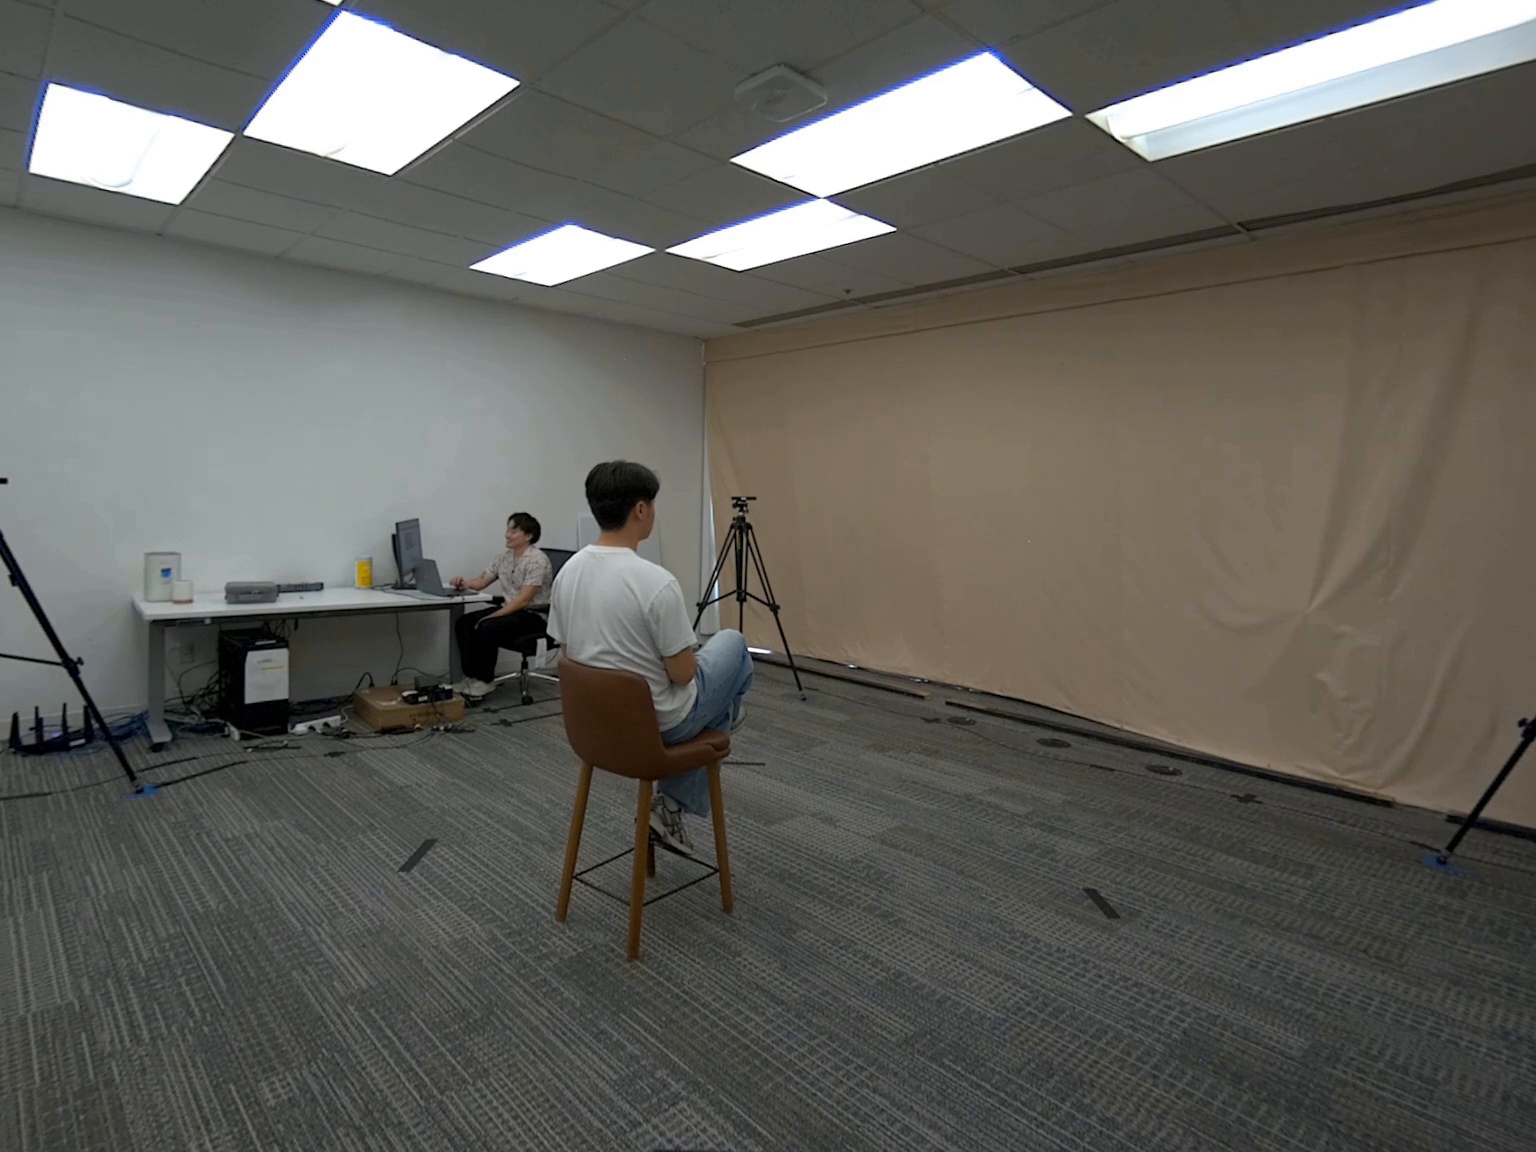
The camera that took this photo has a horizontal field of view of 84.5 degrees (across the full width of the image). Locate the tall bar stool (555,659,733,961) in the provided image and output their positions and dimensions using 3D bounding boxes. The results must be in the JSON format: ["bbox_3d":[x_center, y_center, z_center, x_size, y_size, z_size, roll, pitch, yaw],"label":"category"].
[{"bbox_3d":[-0.420,0.699,2.771,0.468,0.887,0.458,2,6,40],"label":"tall bar stool"}]
